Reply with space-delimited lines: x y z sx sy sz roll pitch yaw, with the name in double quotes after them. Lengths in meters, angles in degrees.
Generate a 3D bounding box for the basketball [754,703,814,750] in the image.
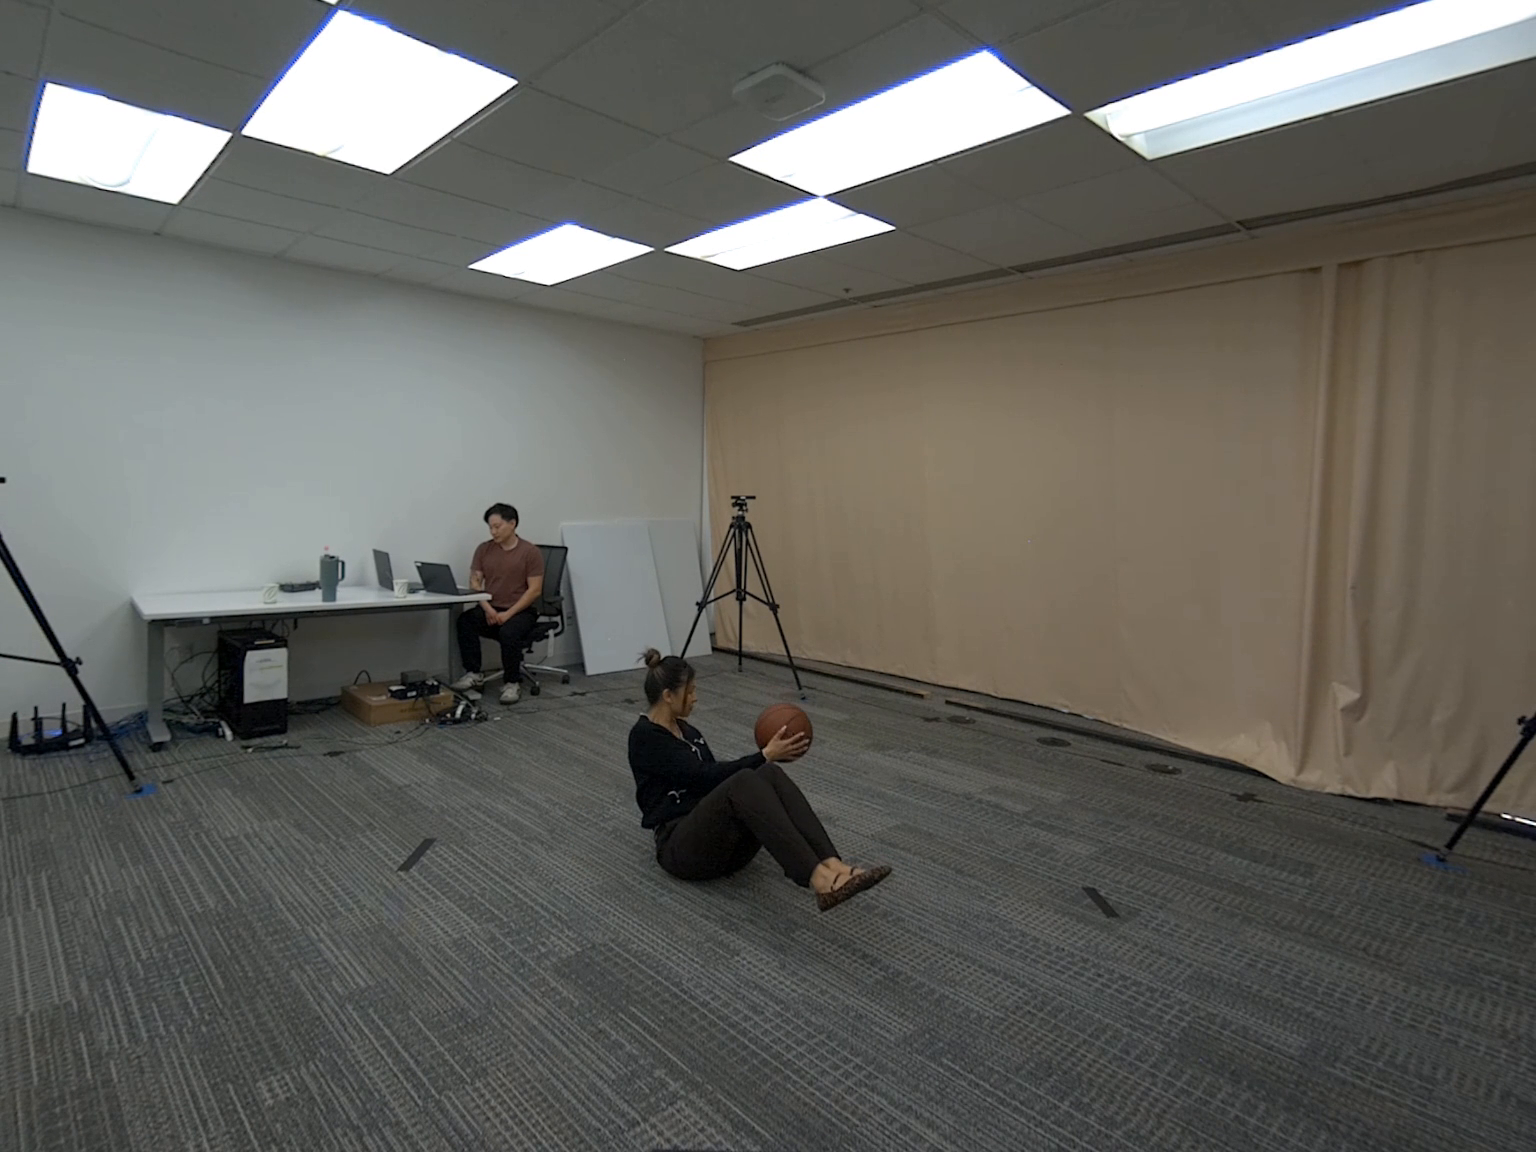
0.047 0.625 3.366 0.236 0.235 0.237 1 4 -1 "basketball"
